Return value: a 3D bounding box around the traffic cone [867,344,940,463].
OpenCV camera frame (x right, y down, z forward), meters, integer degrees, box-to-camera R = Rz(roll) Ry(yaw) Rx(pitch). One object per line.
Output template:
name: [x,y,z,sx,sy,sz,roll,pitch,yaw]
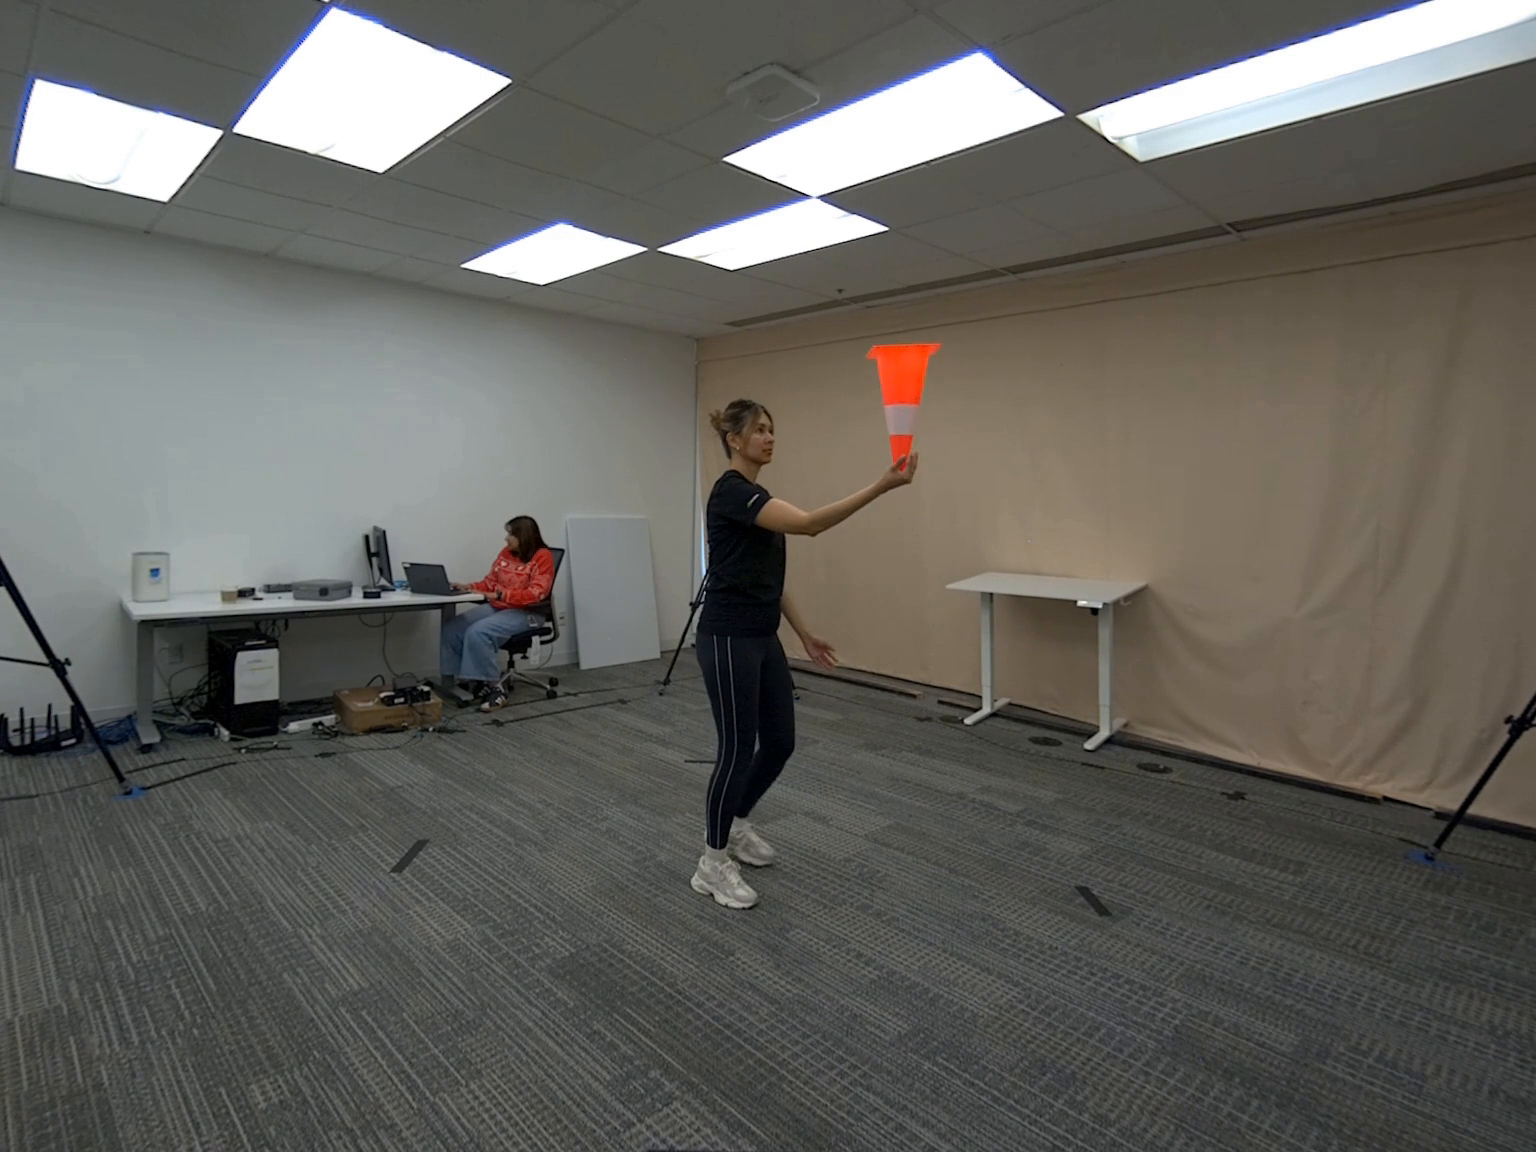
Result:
traffic cone: [0.402,-0.489,2.537,0.203,0.383,0.205,0,1,0]
